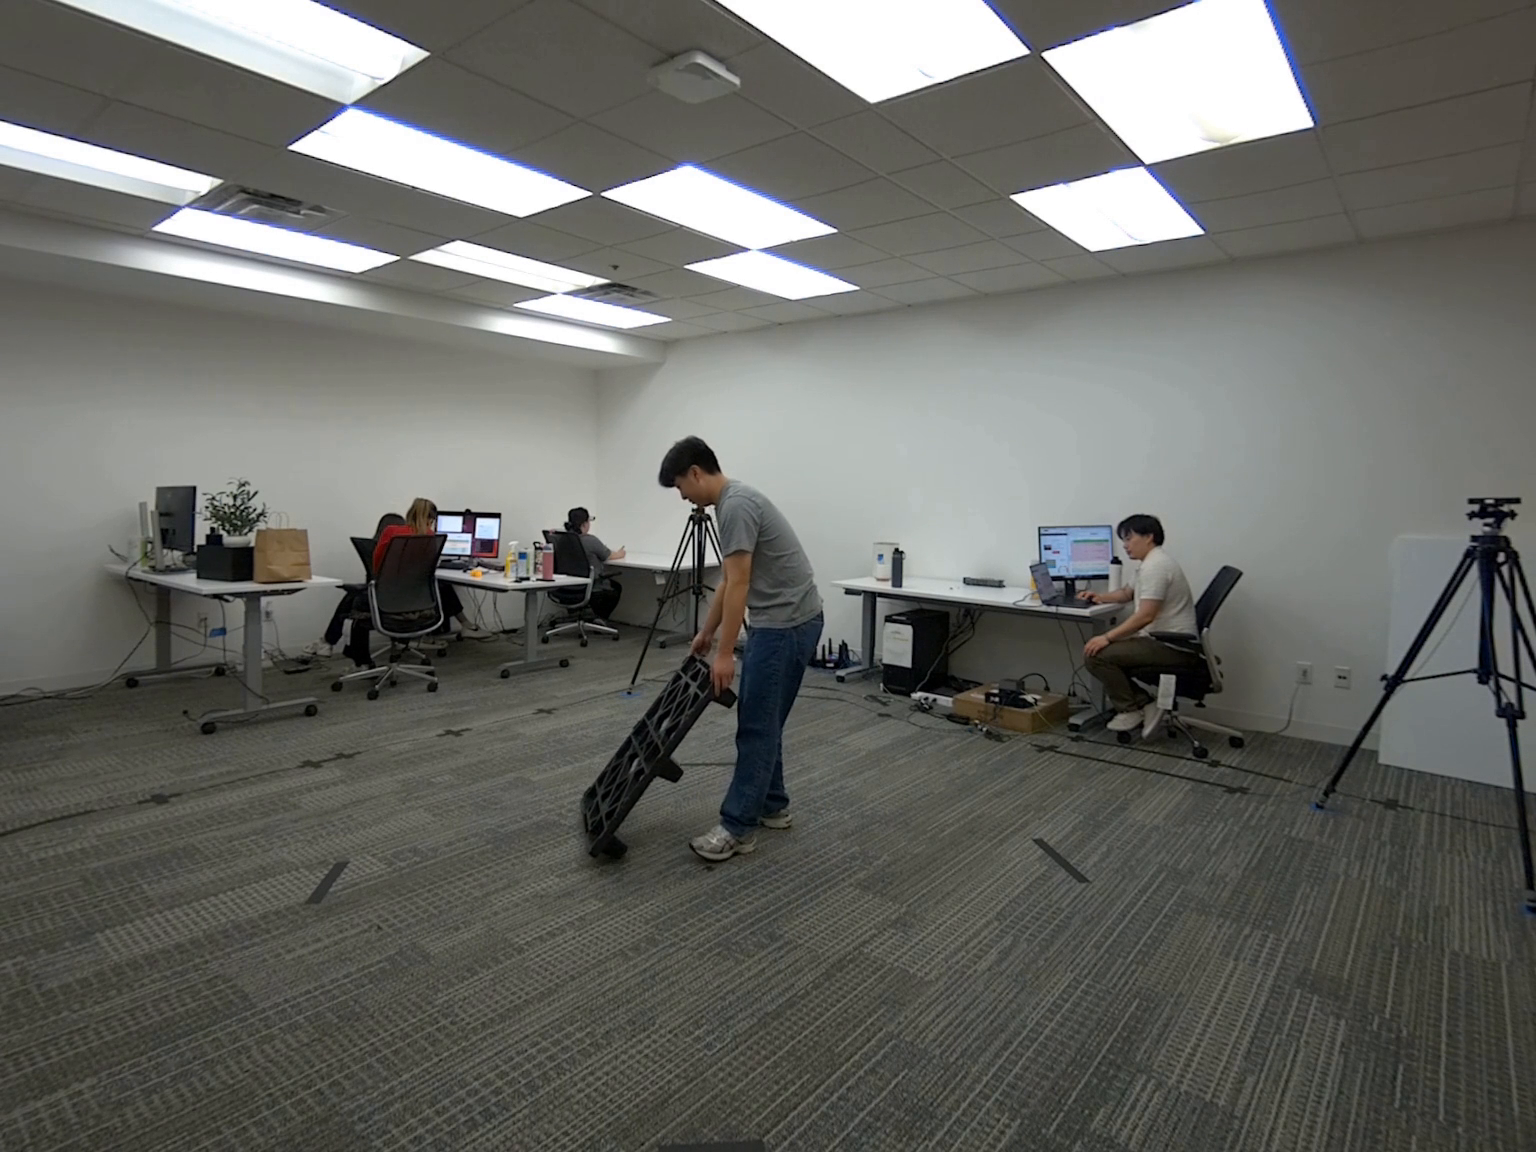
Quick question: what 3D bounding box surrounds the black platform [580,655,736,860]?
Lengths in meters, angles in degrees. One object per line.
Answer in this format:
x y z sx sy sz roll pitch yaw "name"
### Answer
-0.450 0.701 3.393 0.141 0.806 0.615 37 -6 -14 "black platform"
